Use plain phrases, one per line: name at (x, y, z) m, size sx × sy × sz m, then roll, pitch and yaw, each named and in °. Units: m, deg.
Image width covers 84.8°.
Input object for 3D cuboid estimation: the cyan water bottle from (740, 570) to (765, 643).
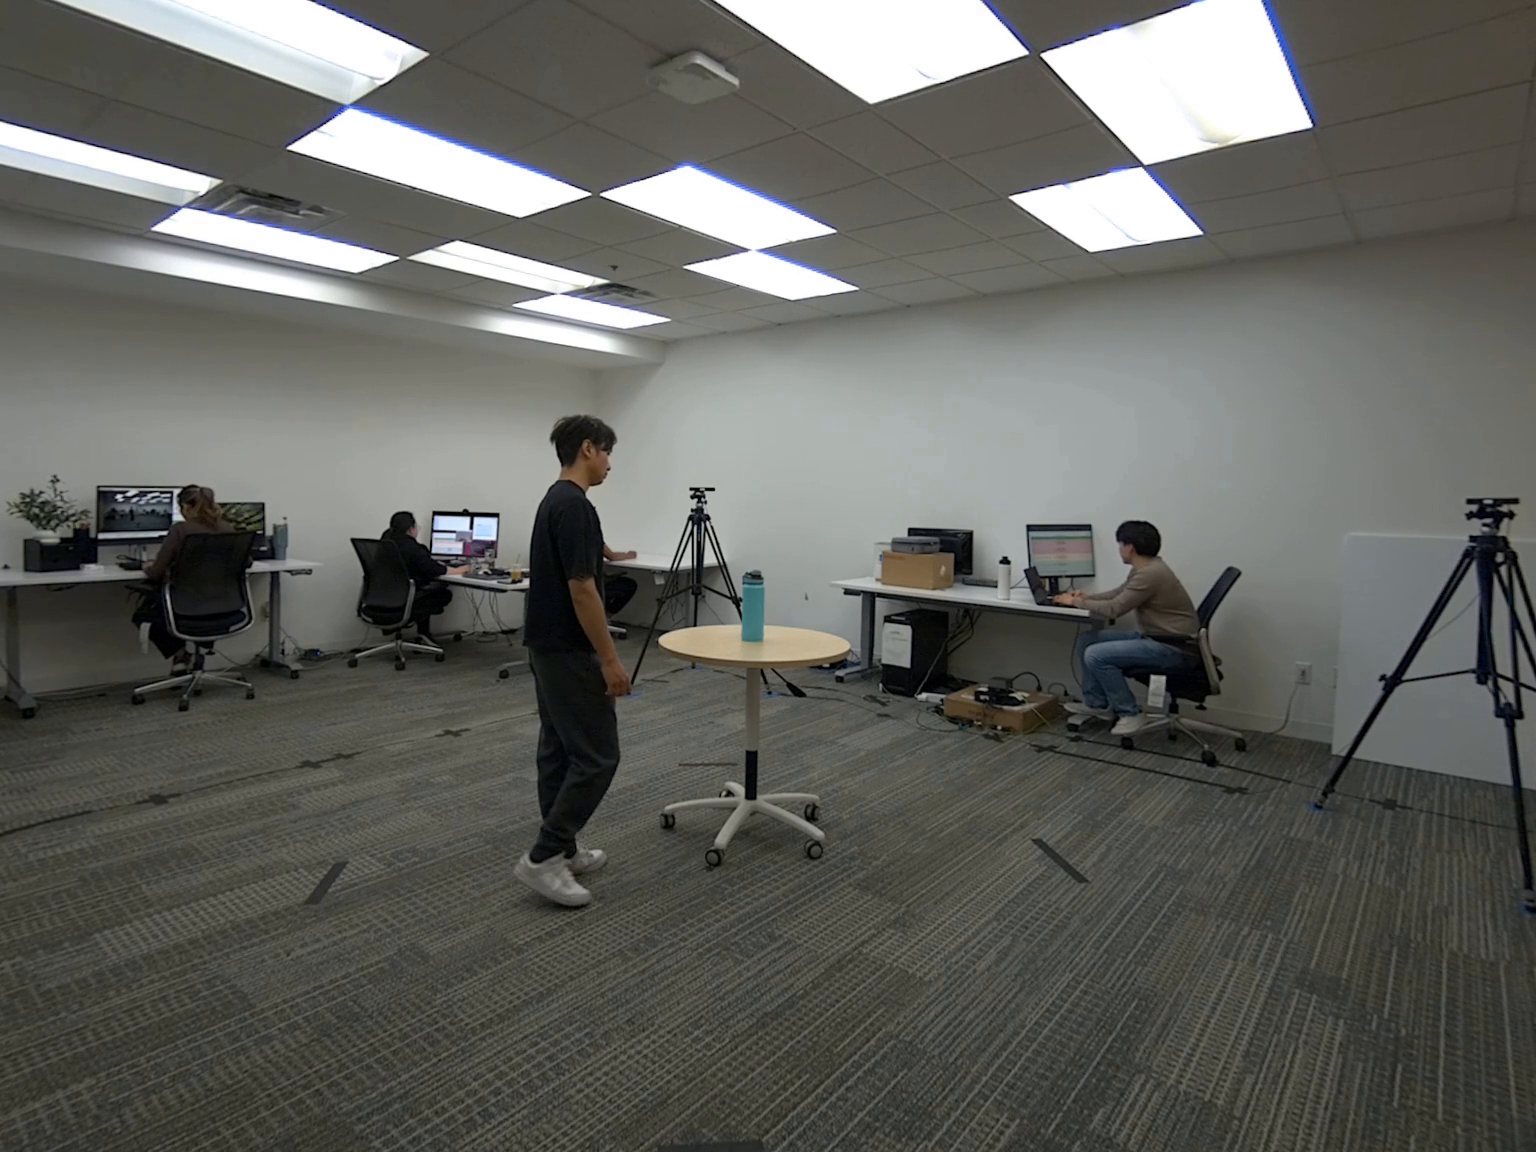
cyan water bottle at (-0.069, 0.115, 3.439) m, size 0.092 × 0.283 × 0.092 m, roll 1°, pitch 2°, yaw -2°
